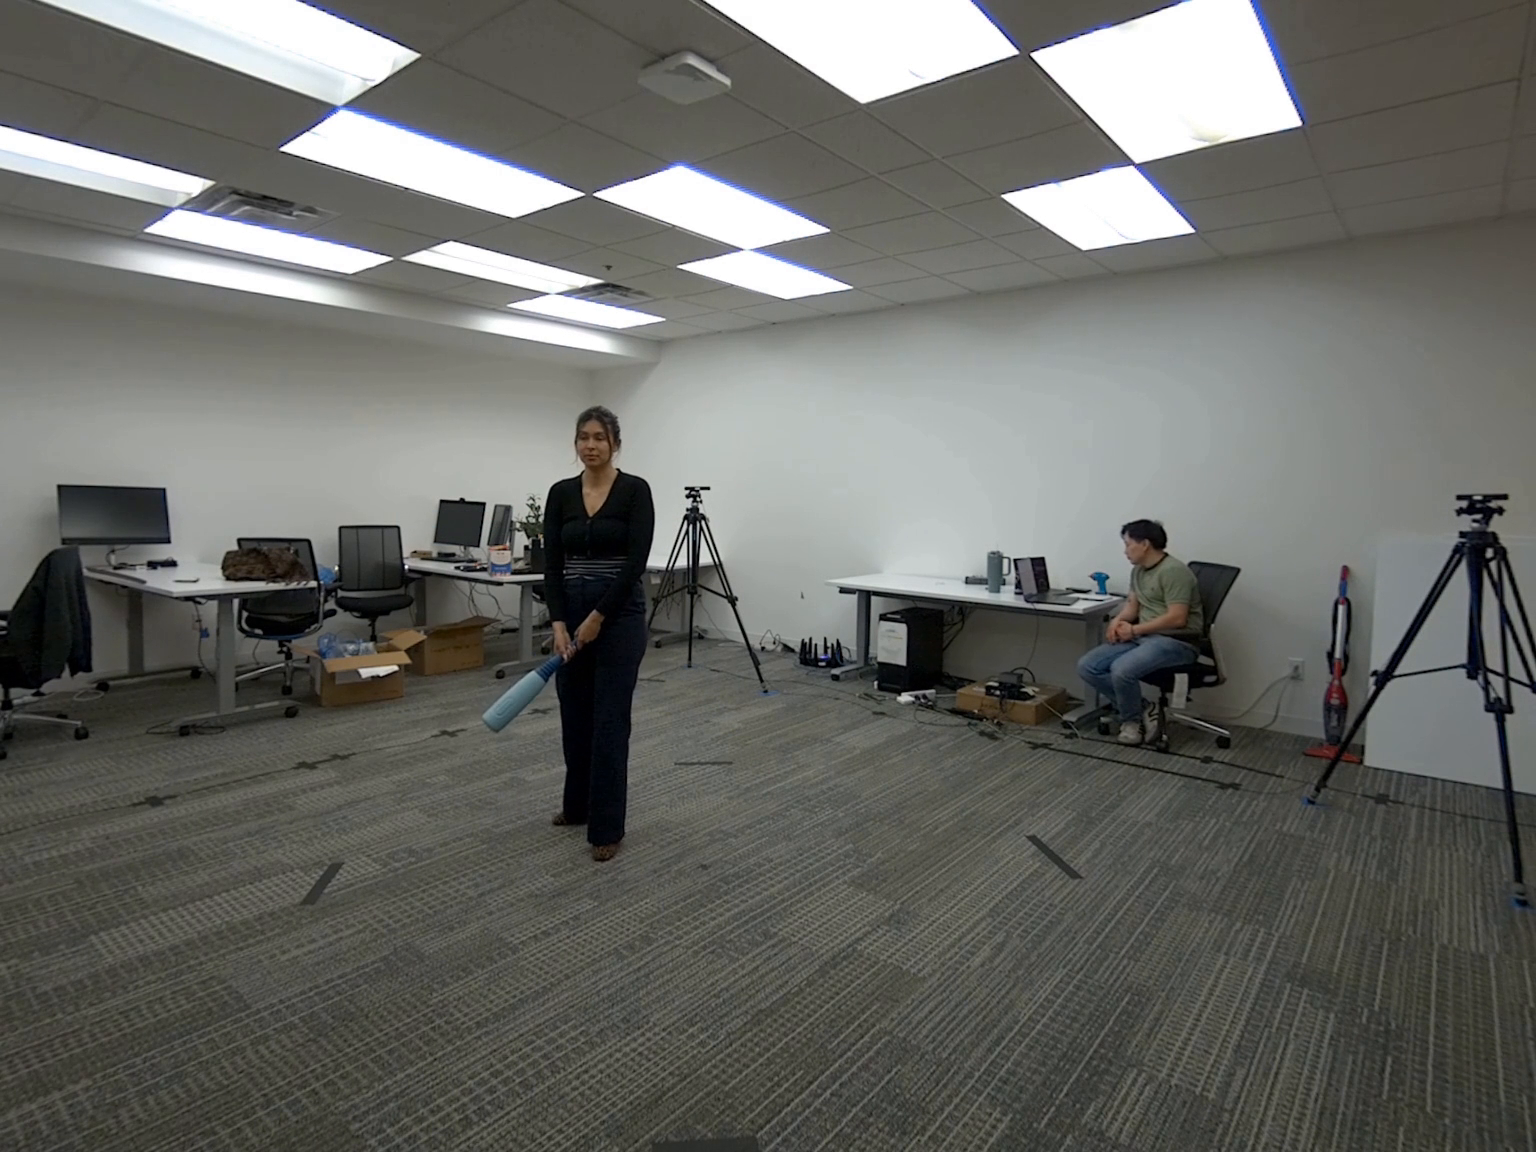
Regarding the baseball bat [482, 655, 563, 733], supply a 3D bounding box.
[{"bbox_3d":[-0.846,0.356,3.133,0.542,0.087,0.091,-44,22,-17],"label":"baseball bat"}]
